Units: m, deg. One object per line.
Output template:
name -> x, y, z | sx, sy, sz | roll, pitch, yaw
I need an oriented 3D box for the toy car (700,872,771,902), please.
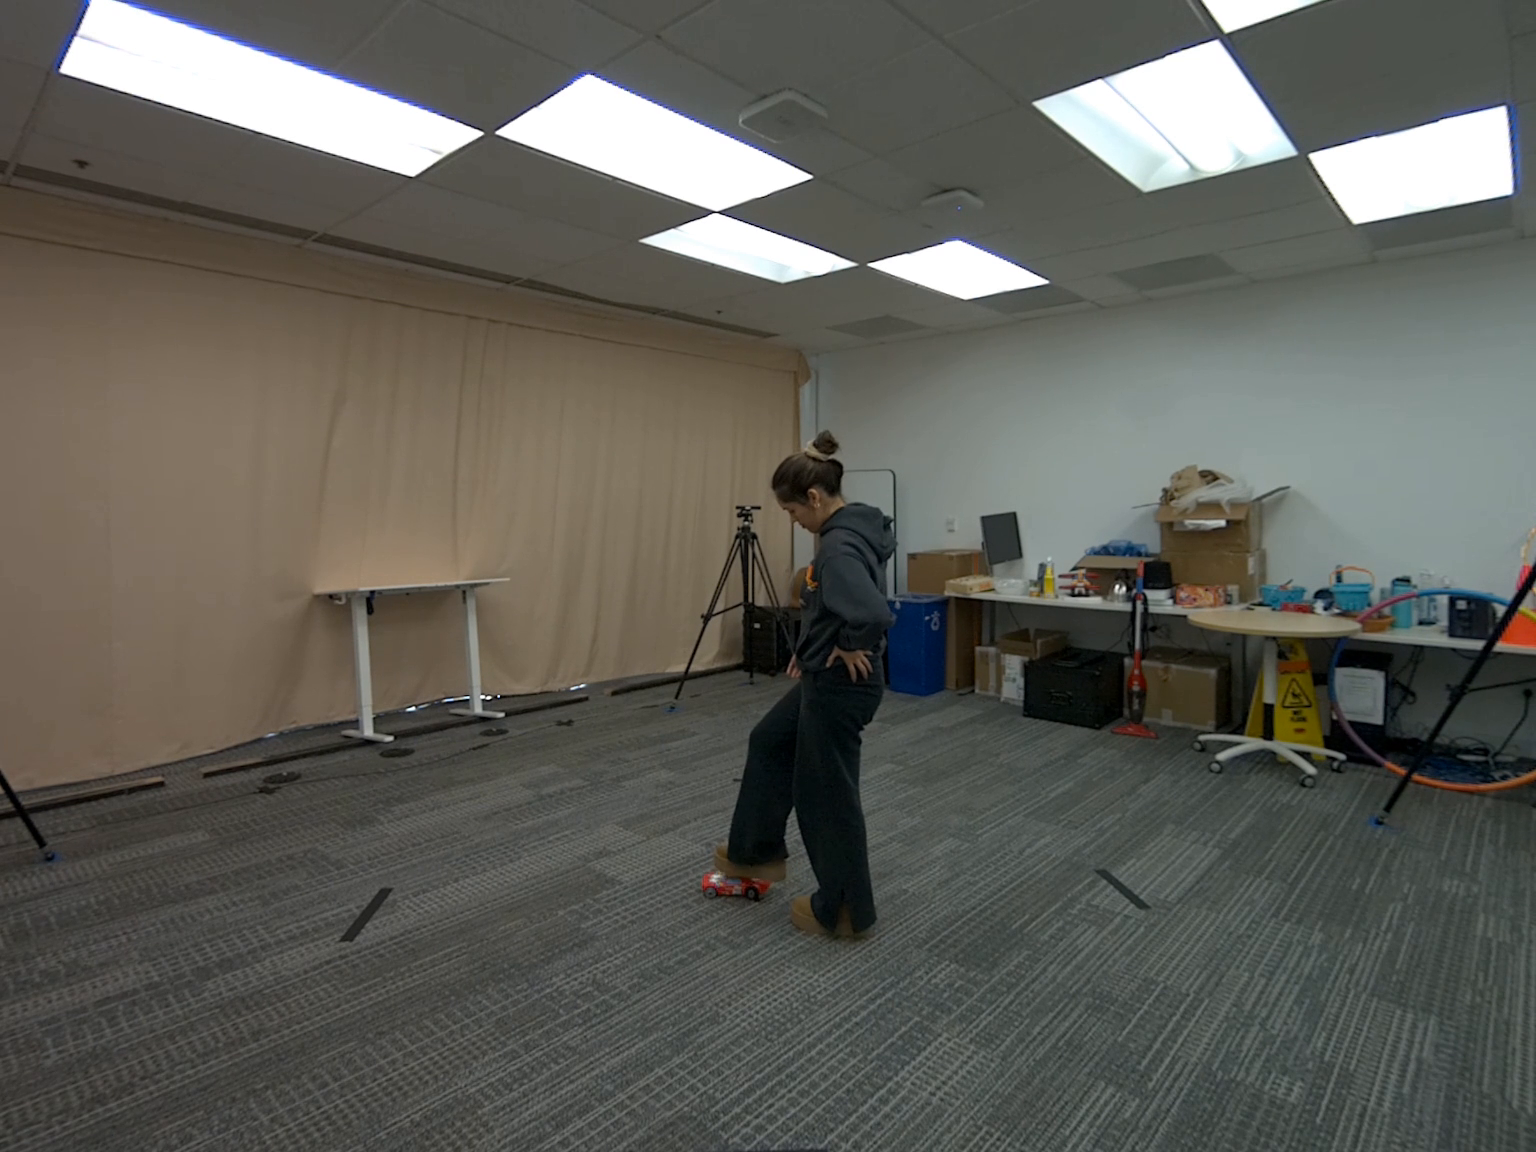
toy car -> -0.082, 1.107, 3.031 | 0.256, 0.083, 0.130 | -12, 4, 5
